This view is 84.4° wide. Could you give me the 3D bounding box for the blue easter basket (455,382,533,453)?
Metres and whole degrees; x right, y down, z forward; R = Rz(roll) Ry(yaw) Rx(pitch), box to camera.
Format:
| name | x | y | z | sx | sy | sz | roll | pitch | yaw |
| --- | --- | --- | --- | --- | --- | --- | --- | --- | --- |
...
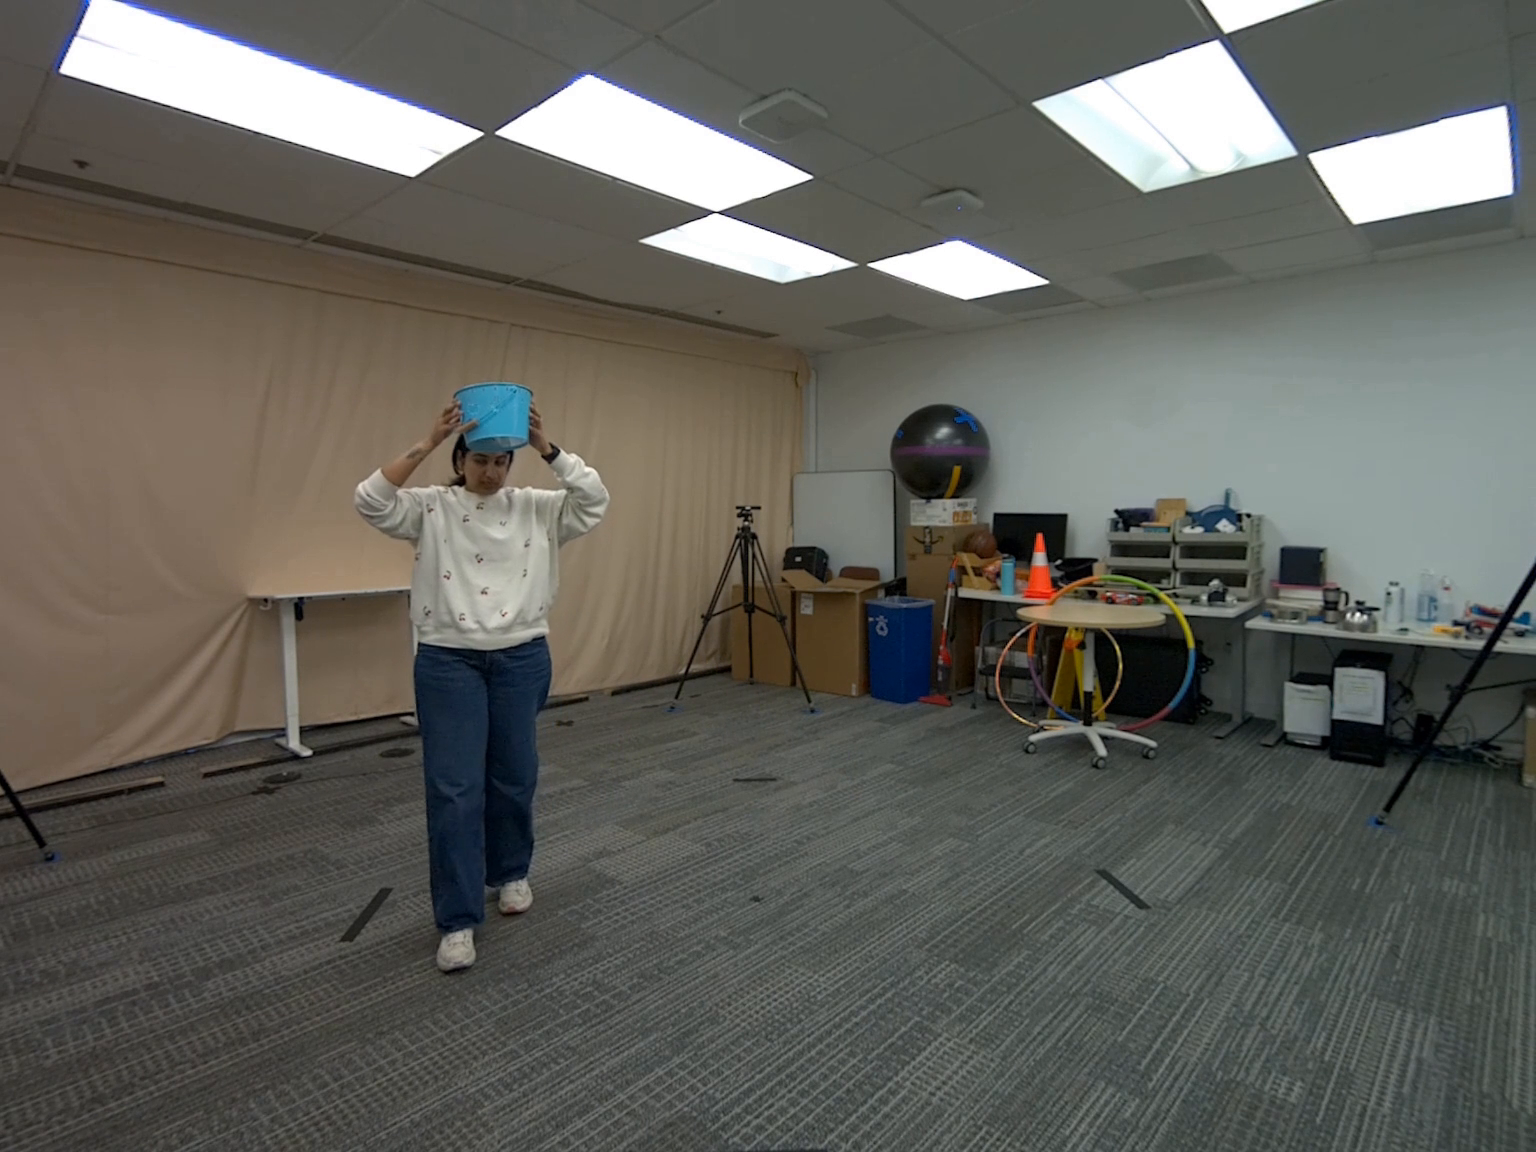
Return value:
| name | x | y | z | sx | sy | sz | roll | pitch | yaw |
| --- | --- | --- | --- | --- | --- | --- | --- | --- | --- |
| blue easter basket | -0.820 | -0.468 | 2.508 | 0.243 | 0.156 | 0.243 | -7 | -5 | -2 |
